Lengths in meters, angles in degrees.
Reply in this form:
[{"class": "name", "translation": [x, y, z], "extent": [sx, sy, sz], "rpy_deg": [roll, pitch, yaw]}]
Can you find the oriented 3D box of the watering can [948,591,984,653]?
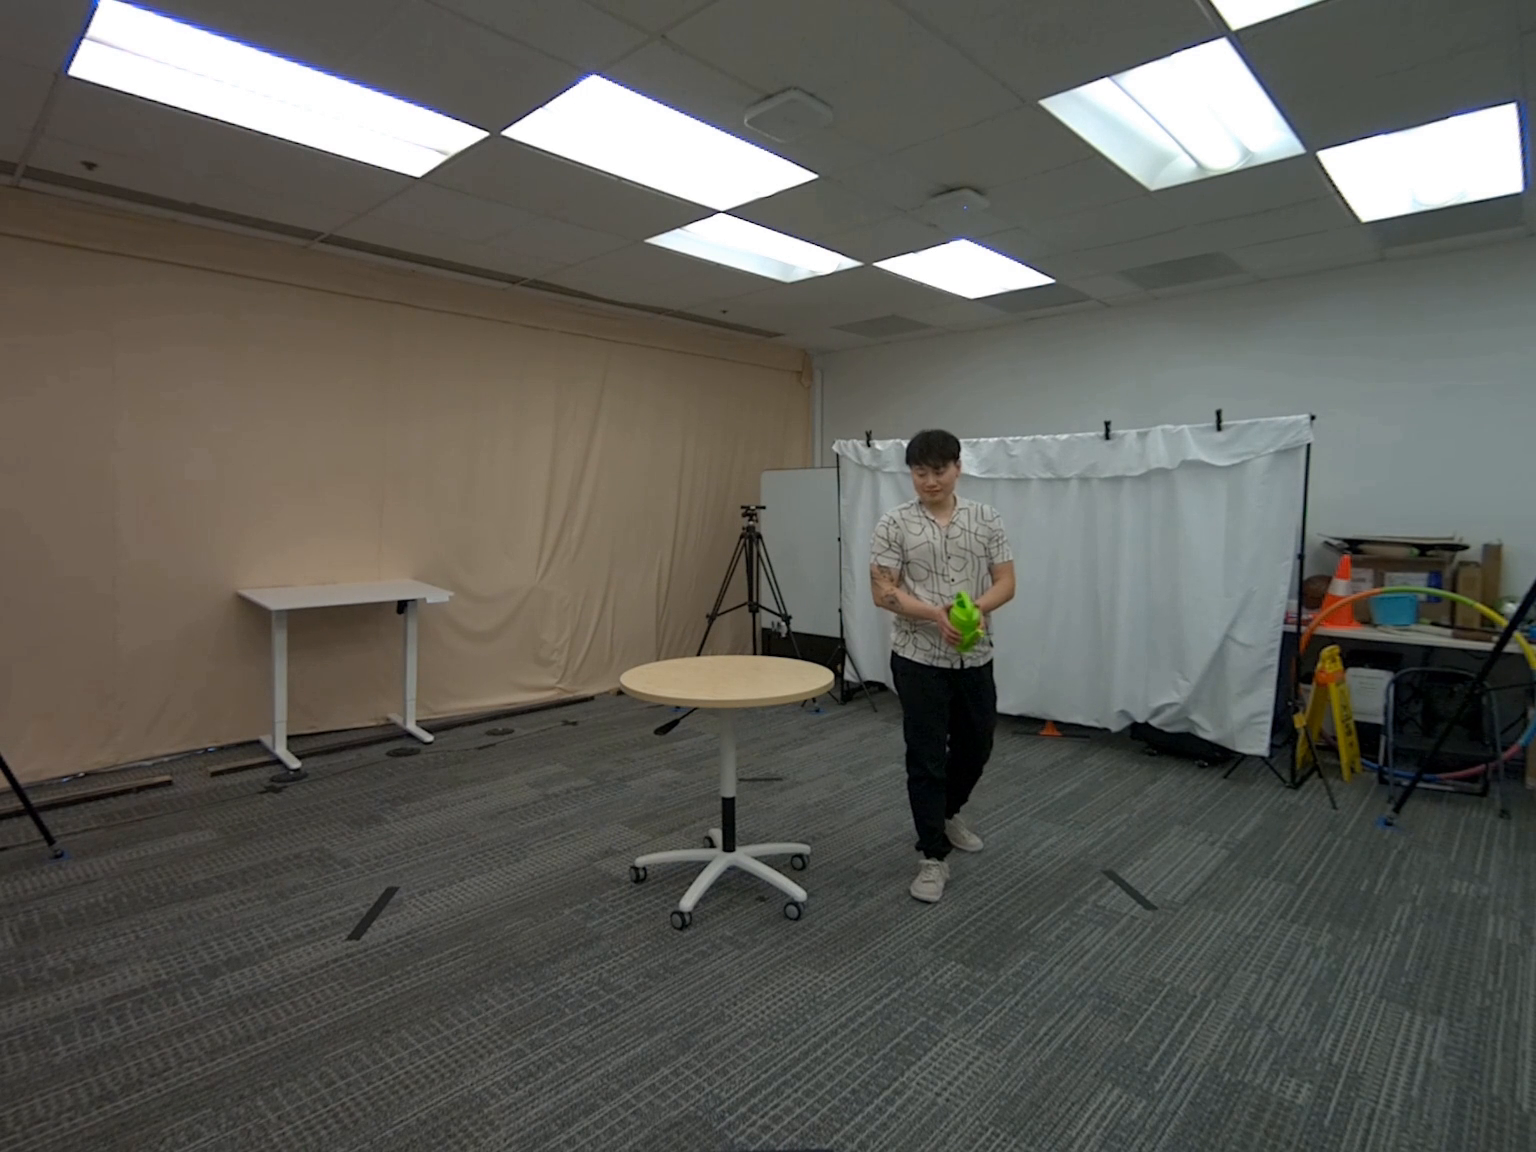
[{"class": "watering can", "translation": [0.651, 0.181, 2.823], "extent": [0.099, 0.174, 0.279], "rpy_deg": [6, 34, 10]}]
